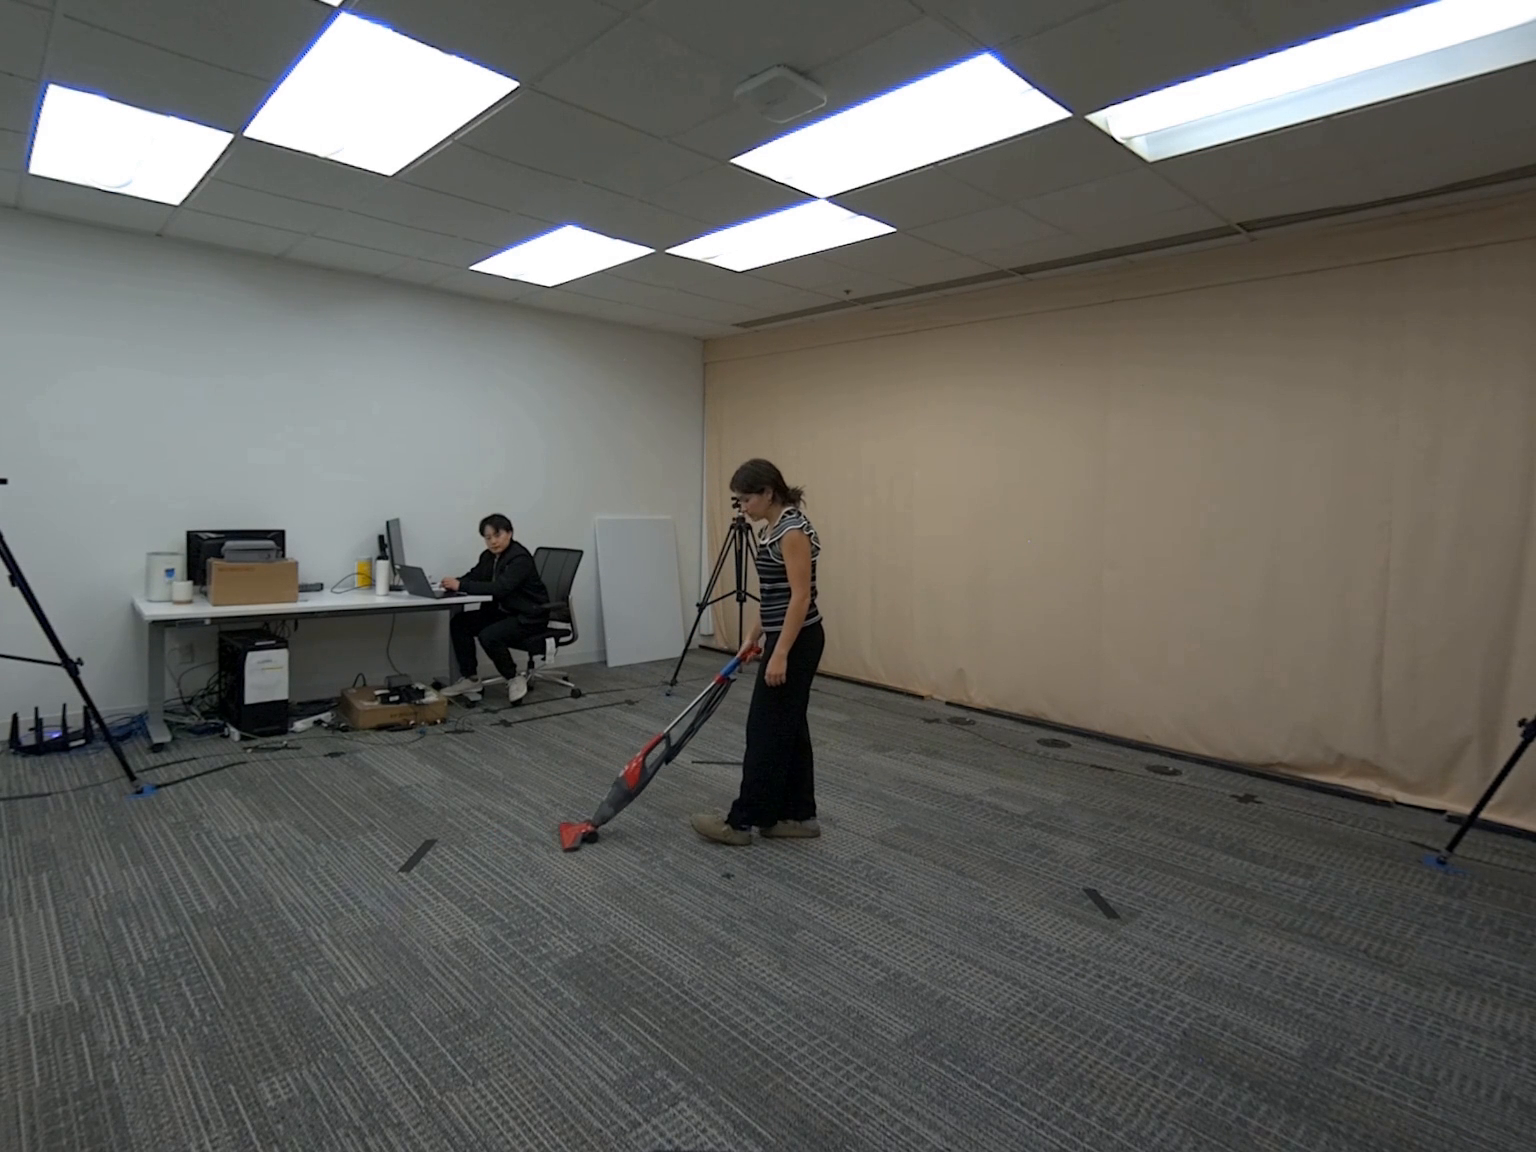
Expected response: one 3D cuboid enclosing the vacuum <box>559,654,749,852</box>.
[{"bbox_3d":[-0.419,0.686,3.495,1.049,0.141,0.258,-44,21,-10],"label":"vacuum"}]
